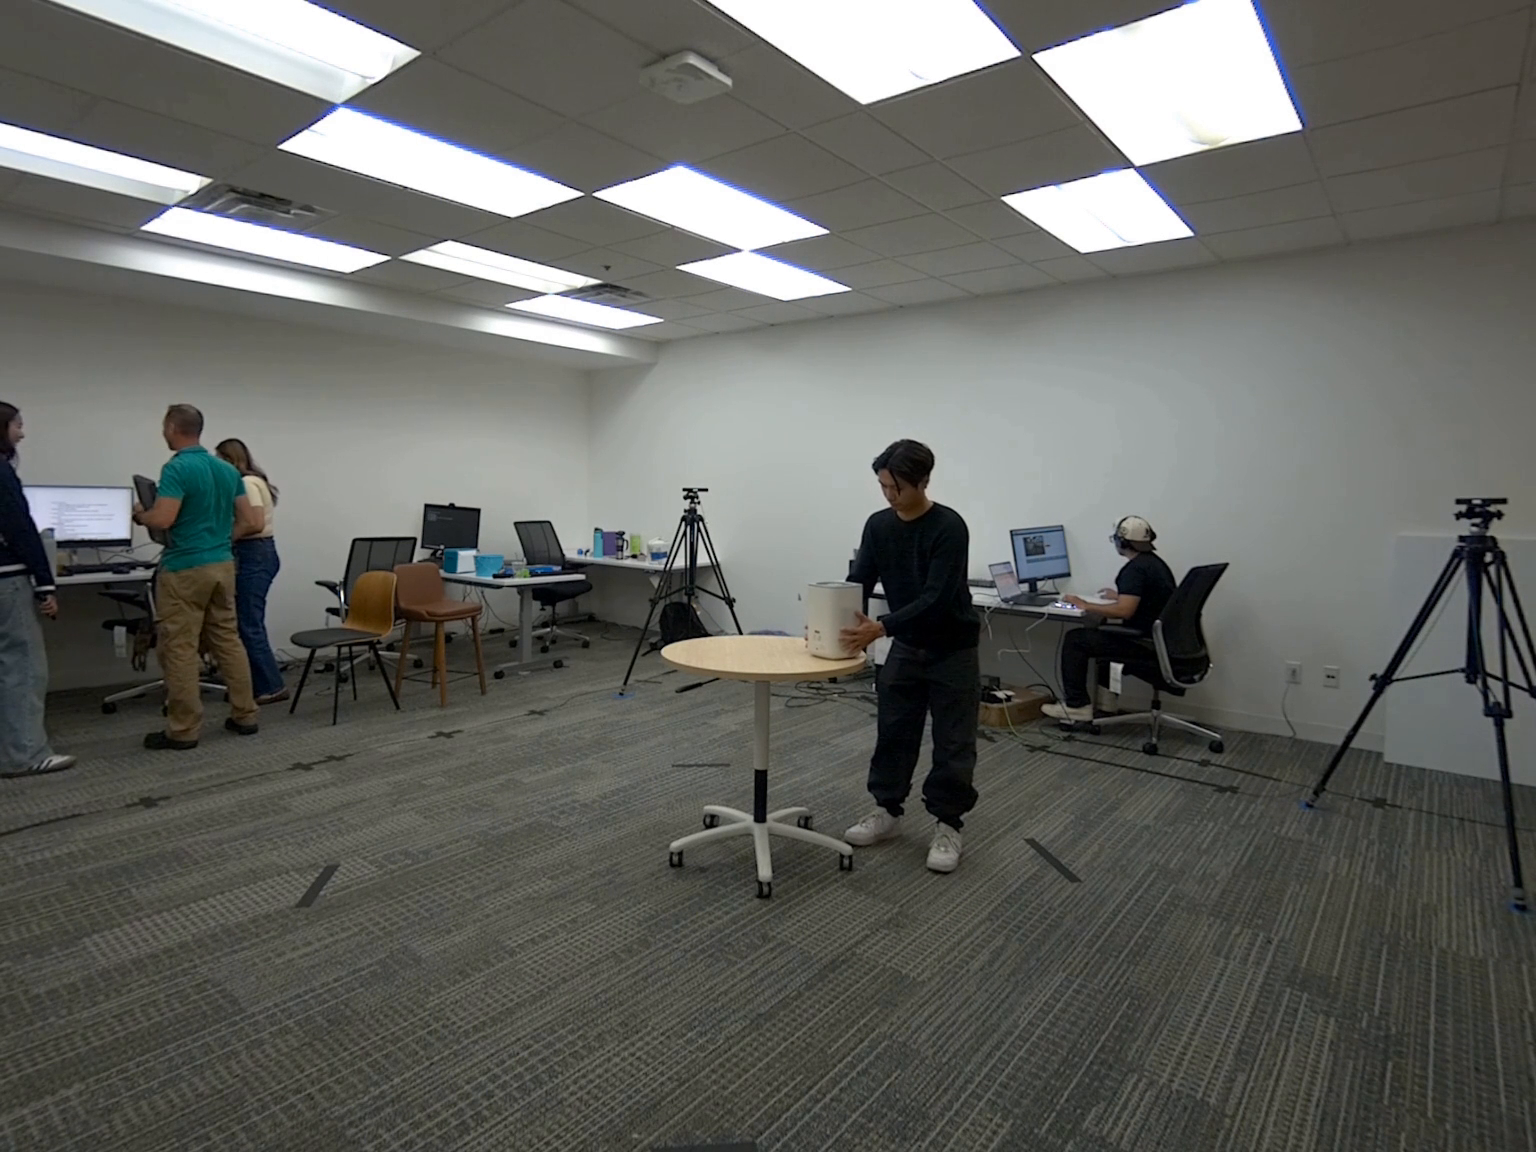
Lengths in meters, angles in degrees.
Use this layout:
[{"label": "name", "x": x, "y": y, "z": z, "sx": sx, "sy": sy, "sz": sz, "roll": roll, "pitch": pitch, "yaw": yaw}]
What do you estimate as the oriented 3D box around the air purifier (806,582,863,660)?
[{"label": "air purifier", "x": 0.239, "y": 0.160, "z": 3.123, "sx": 0.166, "sy": 0.264, "sz": 0.177, "roll": -2, "pitch": 5, "yaw": -39}]
